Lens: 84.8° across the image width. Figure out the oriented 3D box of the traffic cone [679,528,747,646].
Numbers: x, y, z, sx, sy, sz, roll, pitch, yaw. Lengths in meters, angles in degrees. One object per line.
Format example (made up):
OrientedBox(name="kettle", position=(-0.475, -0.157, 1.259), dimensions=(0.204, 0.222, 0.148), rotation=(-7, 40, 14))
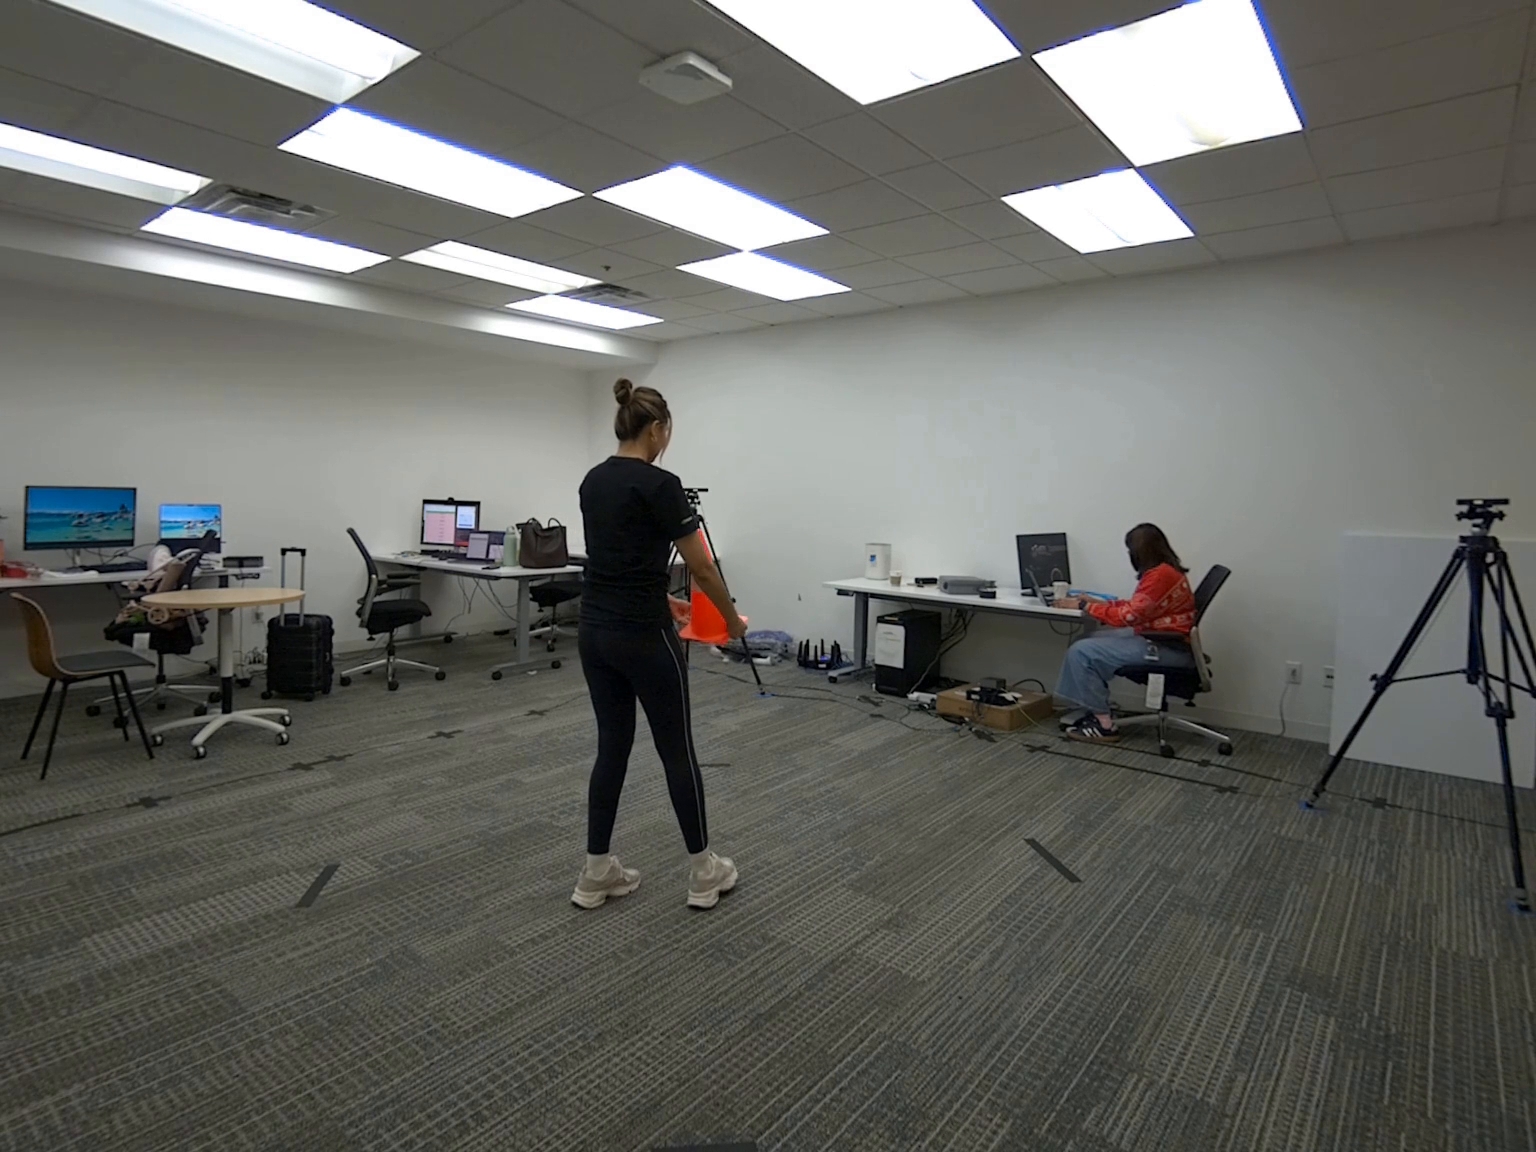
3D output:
OrientedBox(name="traffic cone", position=(-0.239, 0.016, 2.985), dimensions=(0.210, 0.374, 0.203), rotation=(8, 29, 34))
